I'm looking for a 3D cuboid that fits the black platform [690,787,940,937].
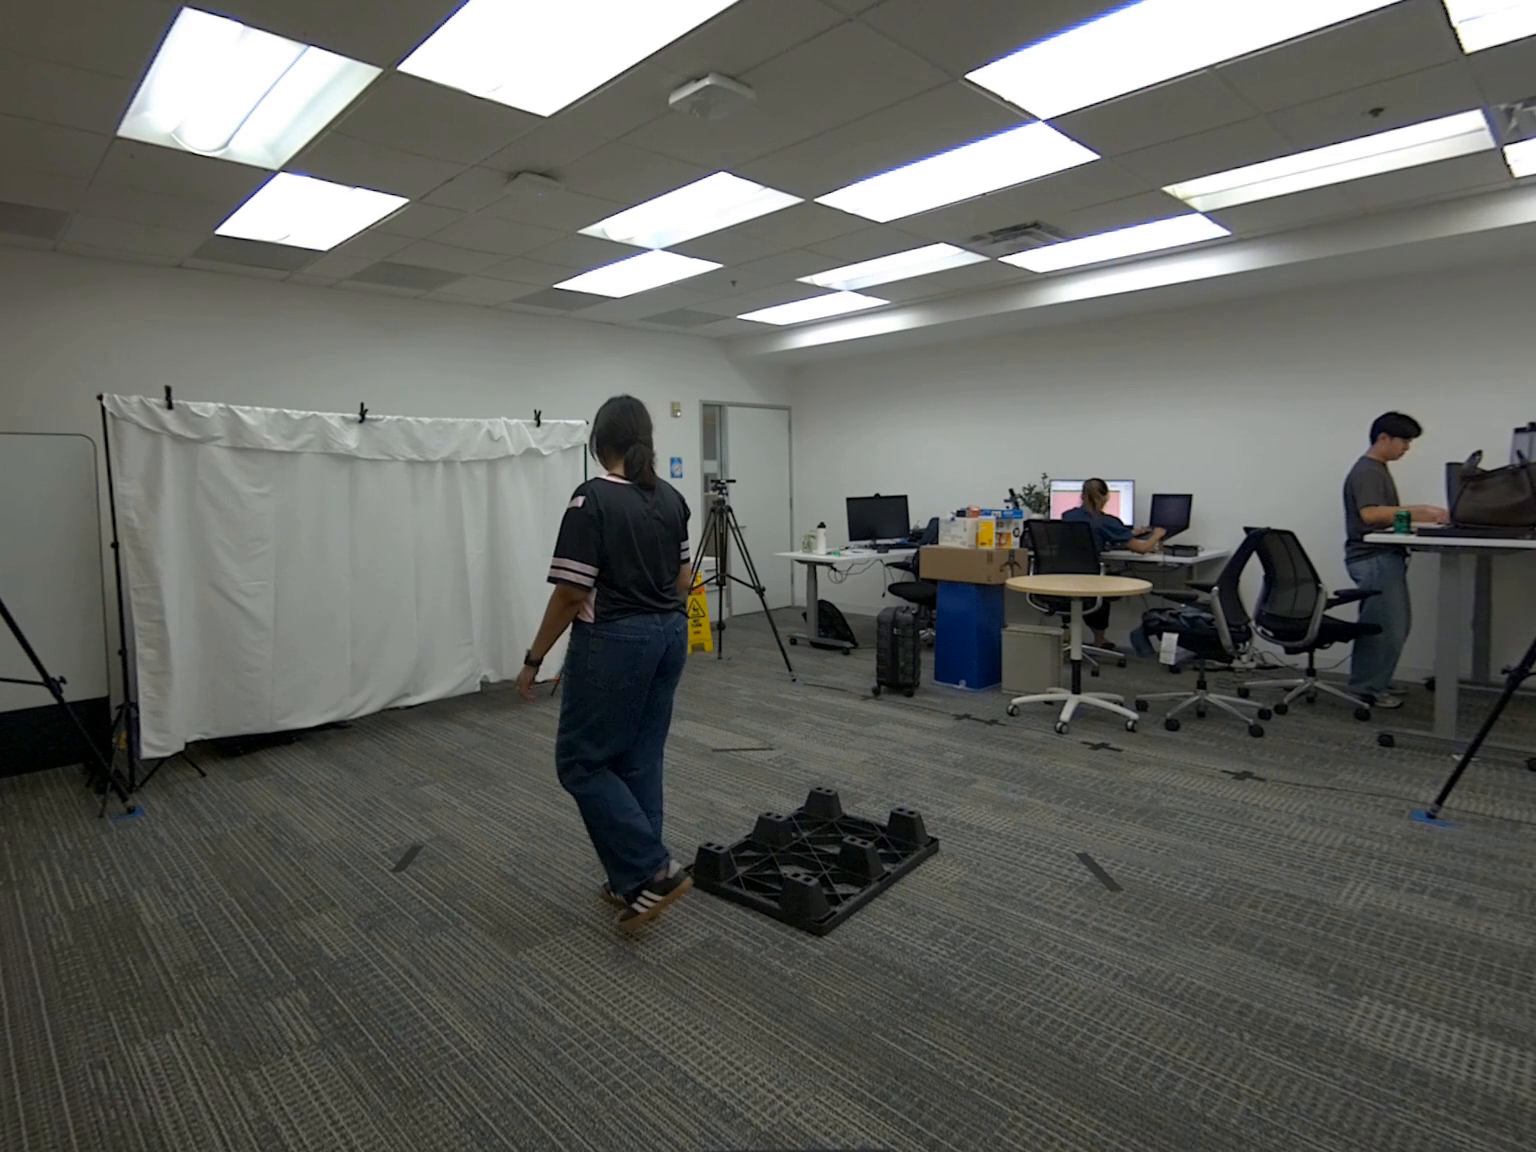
[{"bbox_3d":[0.172,0.980,3.083,0.623,0.143,0.785,4,8,39],"label":"black platform"}]
